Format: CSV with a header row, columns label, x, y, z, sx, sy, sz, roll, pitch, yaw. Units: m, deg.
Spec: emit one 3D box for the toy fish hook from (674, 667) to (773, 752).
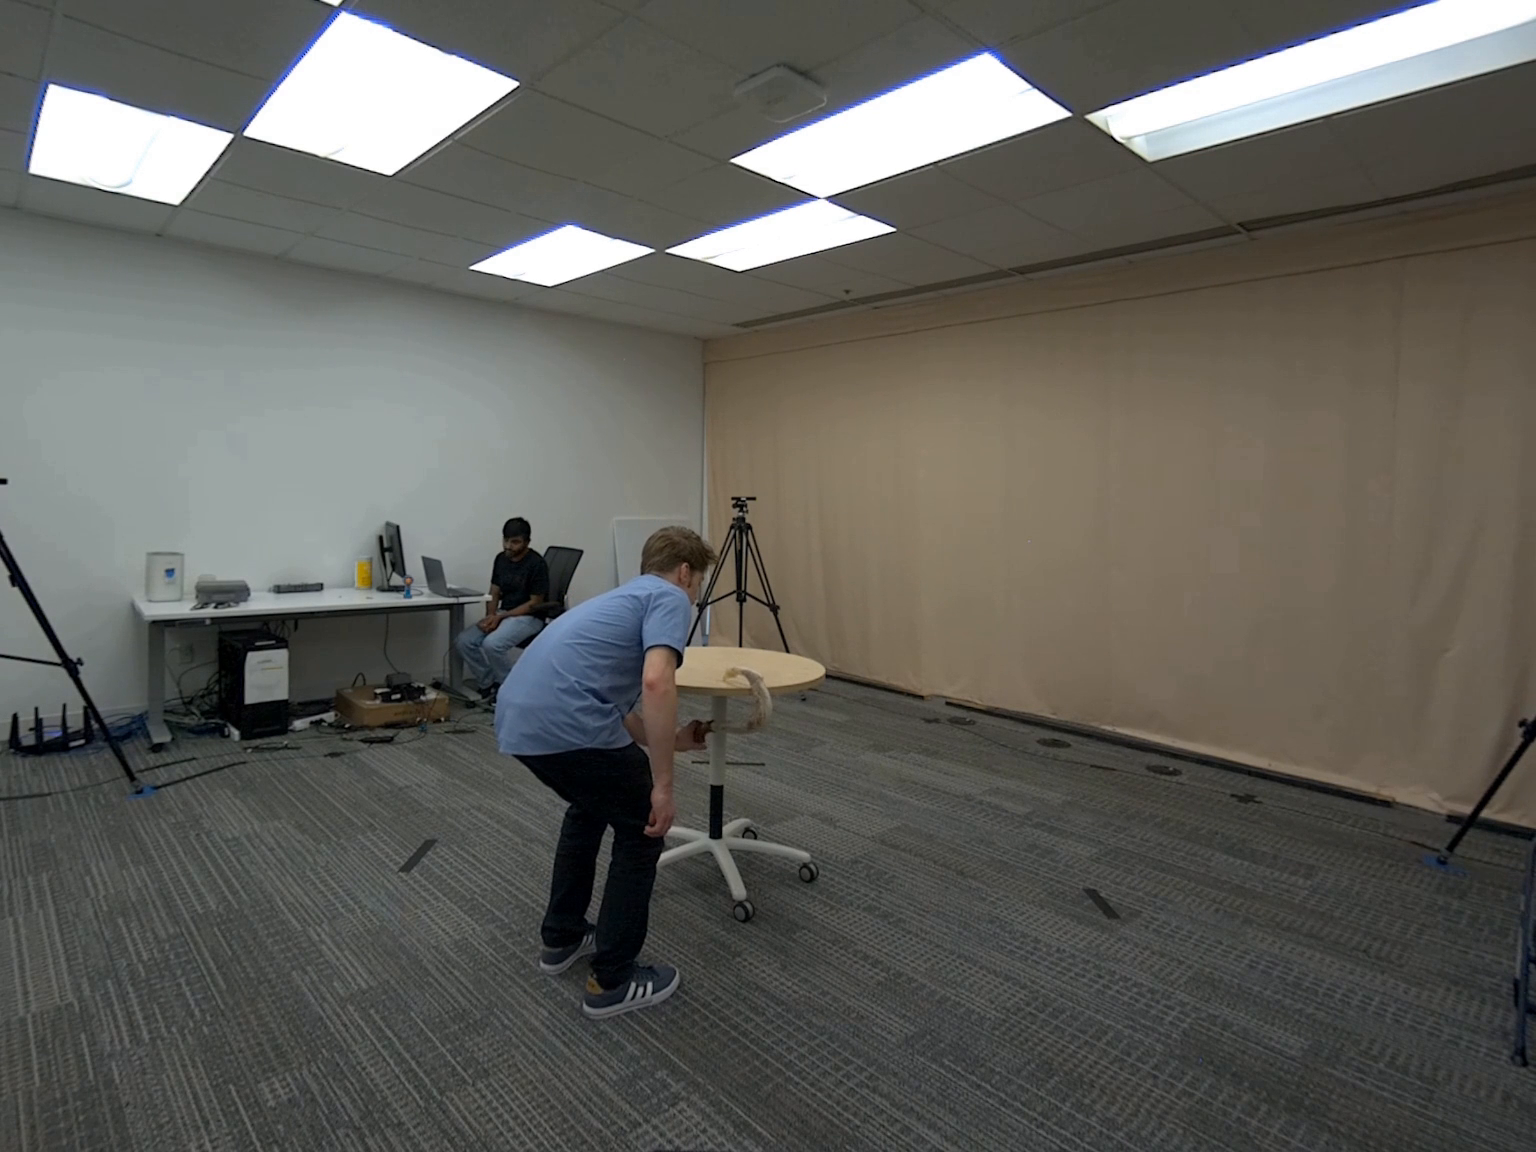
label,x,y,z,sx,sy,sz,roll,pitch,yaw
toy fish hook,-0.170,0.450,2.816,0.047,0.228,0.511,7,-24,-39
